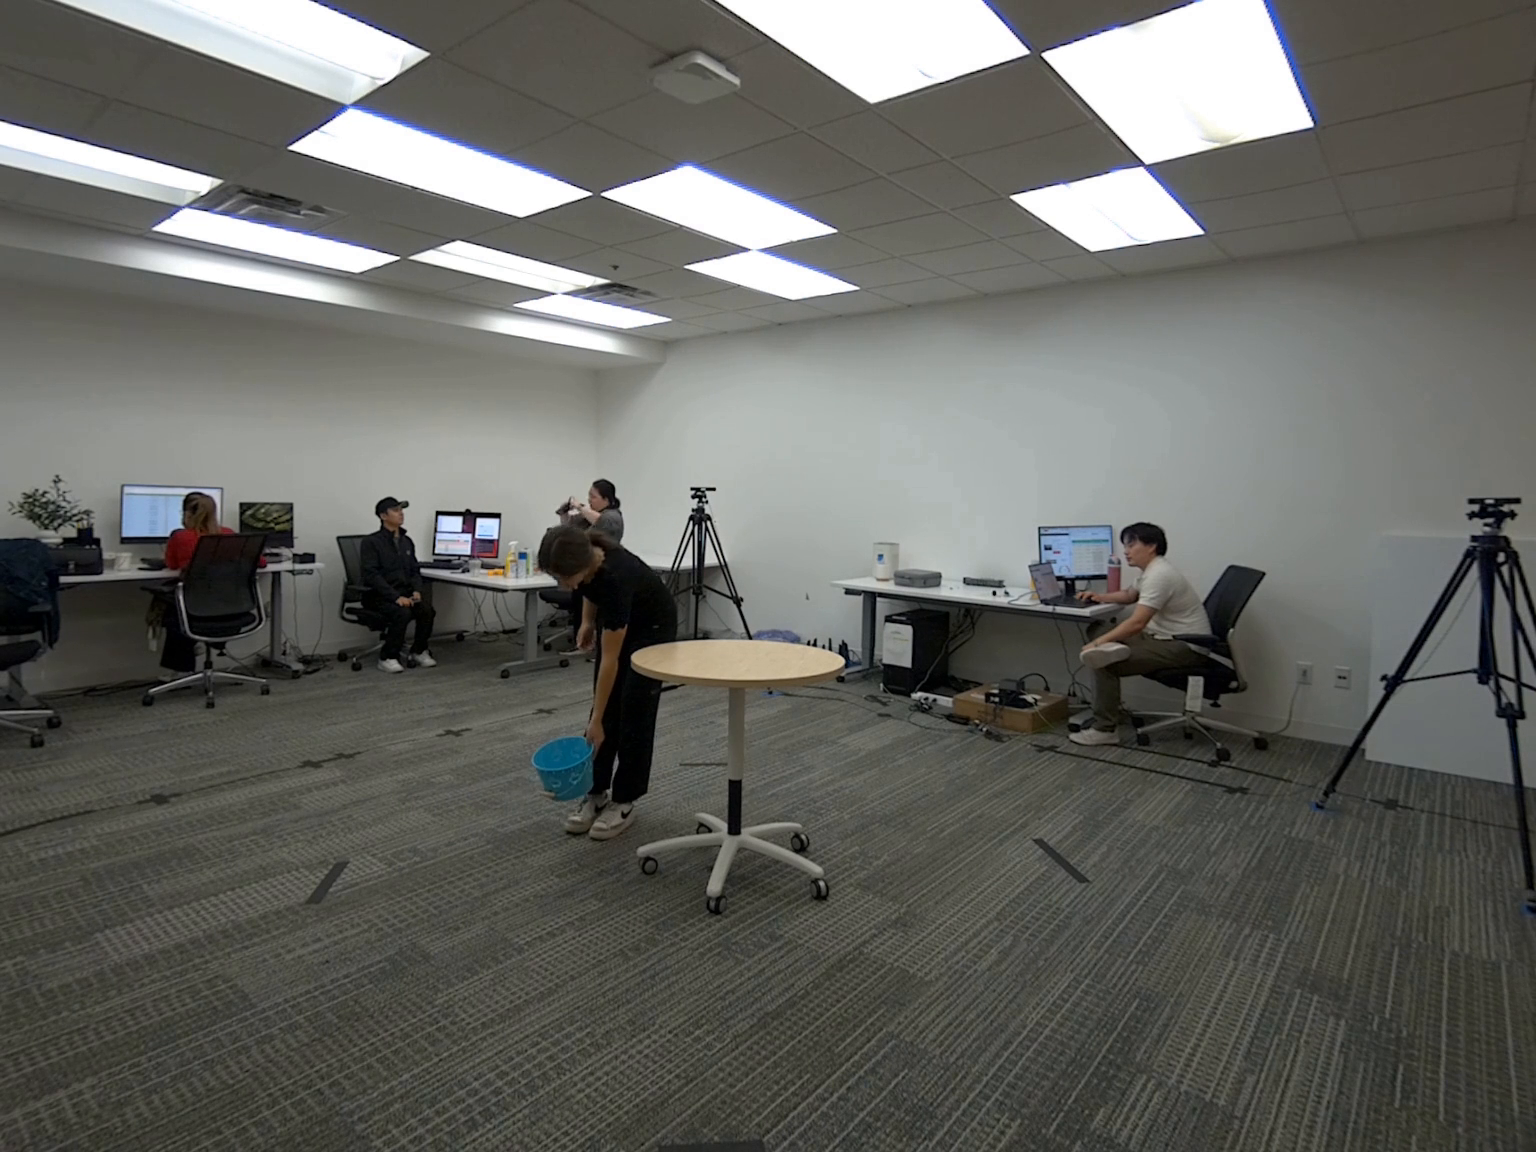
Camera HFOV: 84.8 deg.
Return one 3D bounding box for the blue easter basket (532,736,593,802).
[{"bbox_3d":[-0.785,0.731,3.216,0.244,0.153,0.248,-7,19,0],"label":"blue easter basket"}]
